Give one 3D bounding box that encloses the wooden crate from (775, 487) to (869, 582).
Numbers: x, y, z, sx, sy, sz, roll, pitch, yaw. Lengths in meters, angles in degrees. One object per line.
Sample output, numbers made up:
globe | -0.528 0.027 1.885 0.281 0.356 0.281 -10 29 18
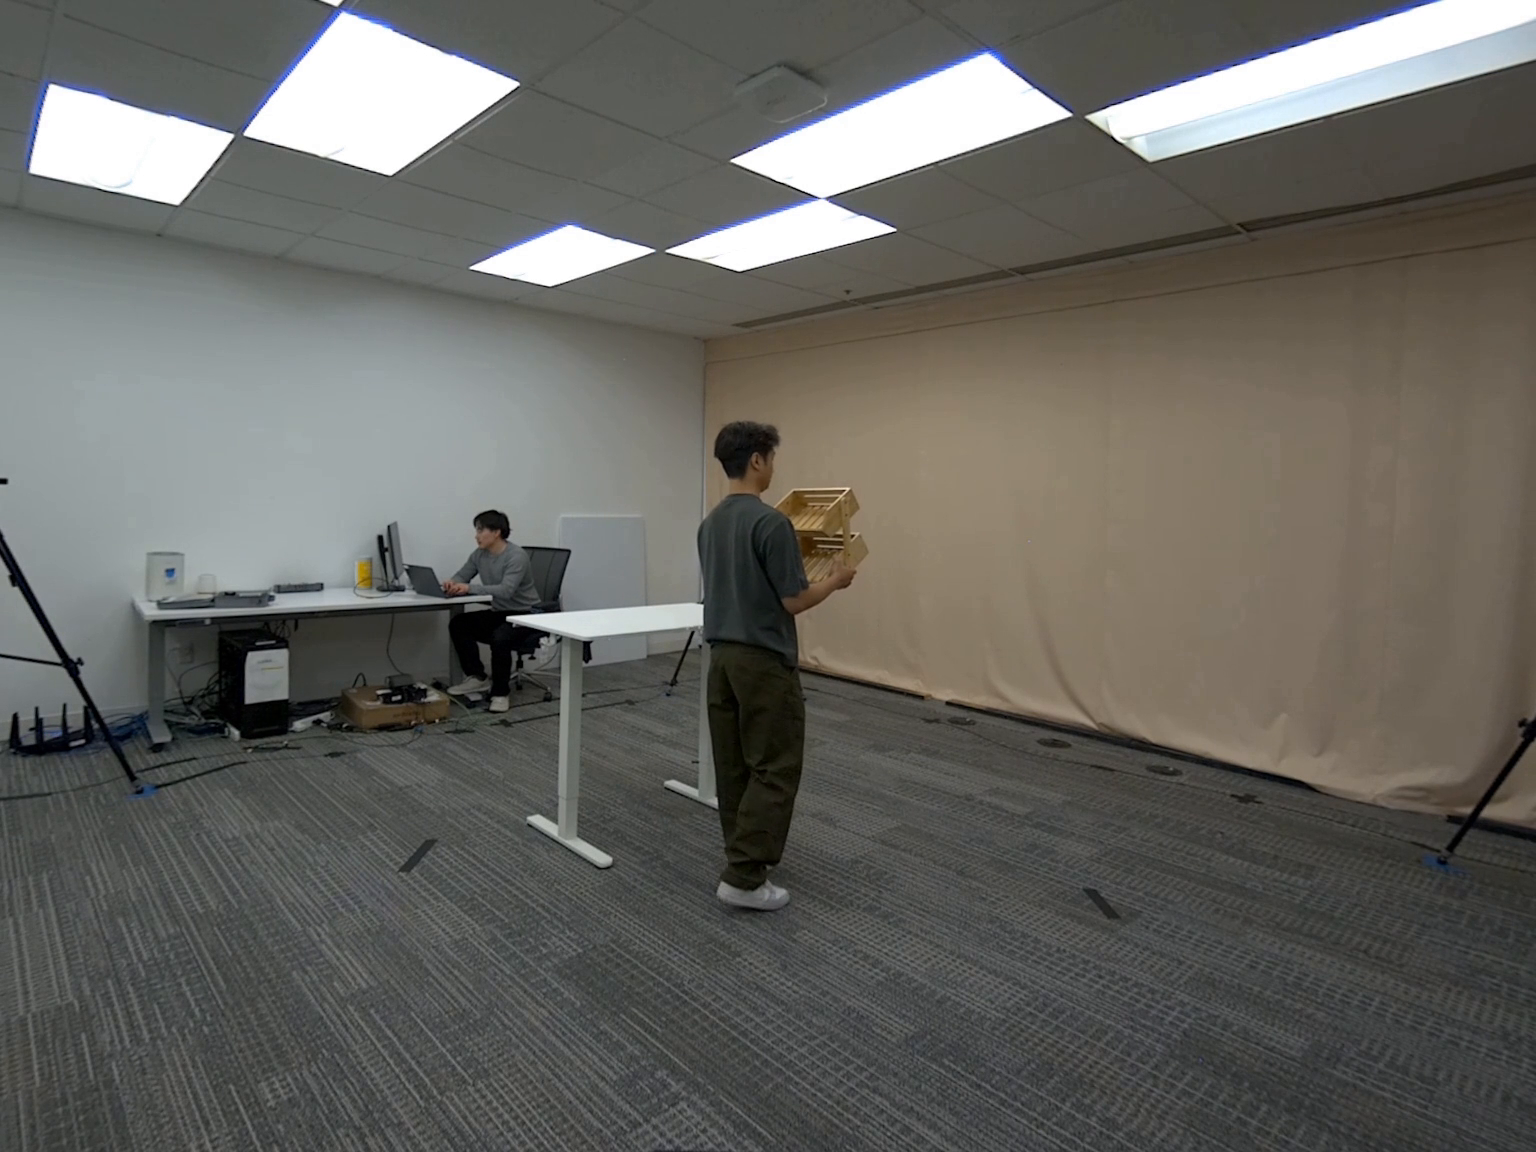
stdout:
wooden crate | 0.158 -0.143 3.169 0.332 0.267 0.301 5 40 48
